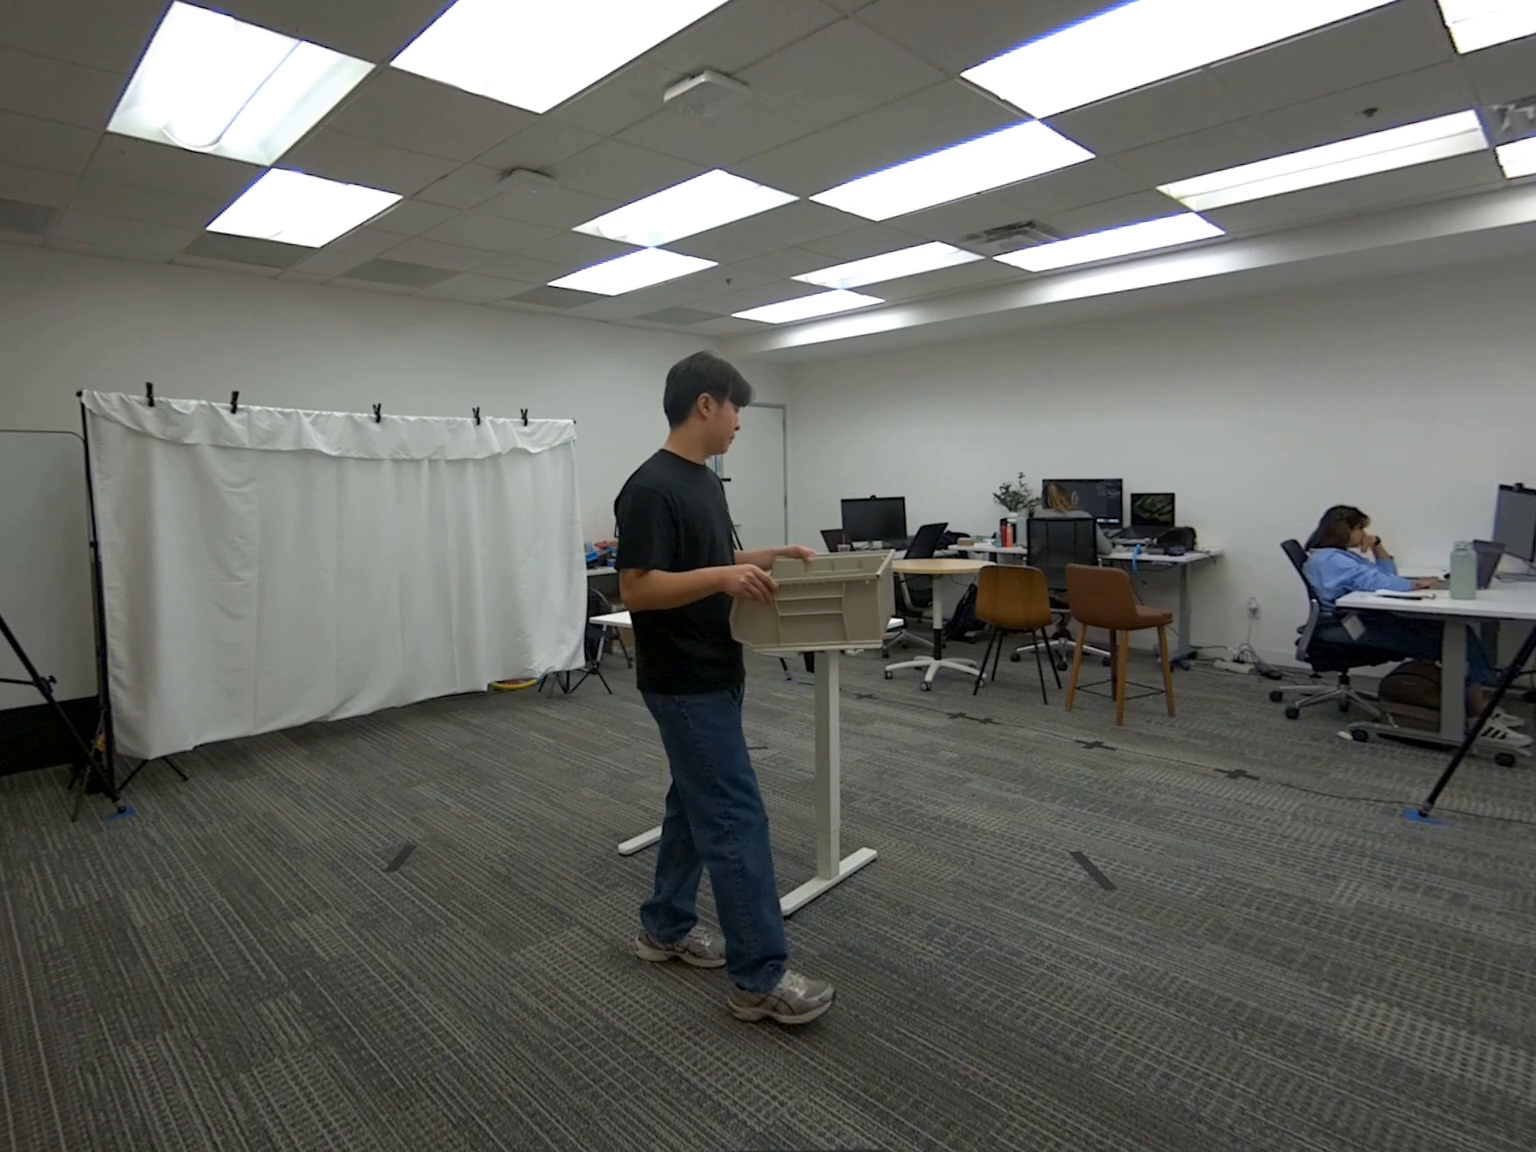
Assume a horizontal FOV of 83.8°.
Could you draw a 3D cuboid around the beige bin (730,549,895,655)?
[{"bbox_3d":[0.140,0.061,2.240,0.382,0.188,0.419,-2,8,13],"label":"beige bin"}]
